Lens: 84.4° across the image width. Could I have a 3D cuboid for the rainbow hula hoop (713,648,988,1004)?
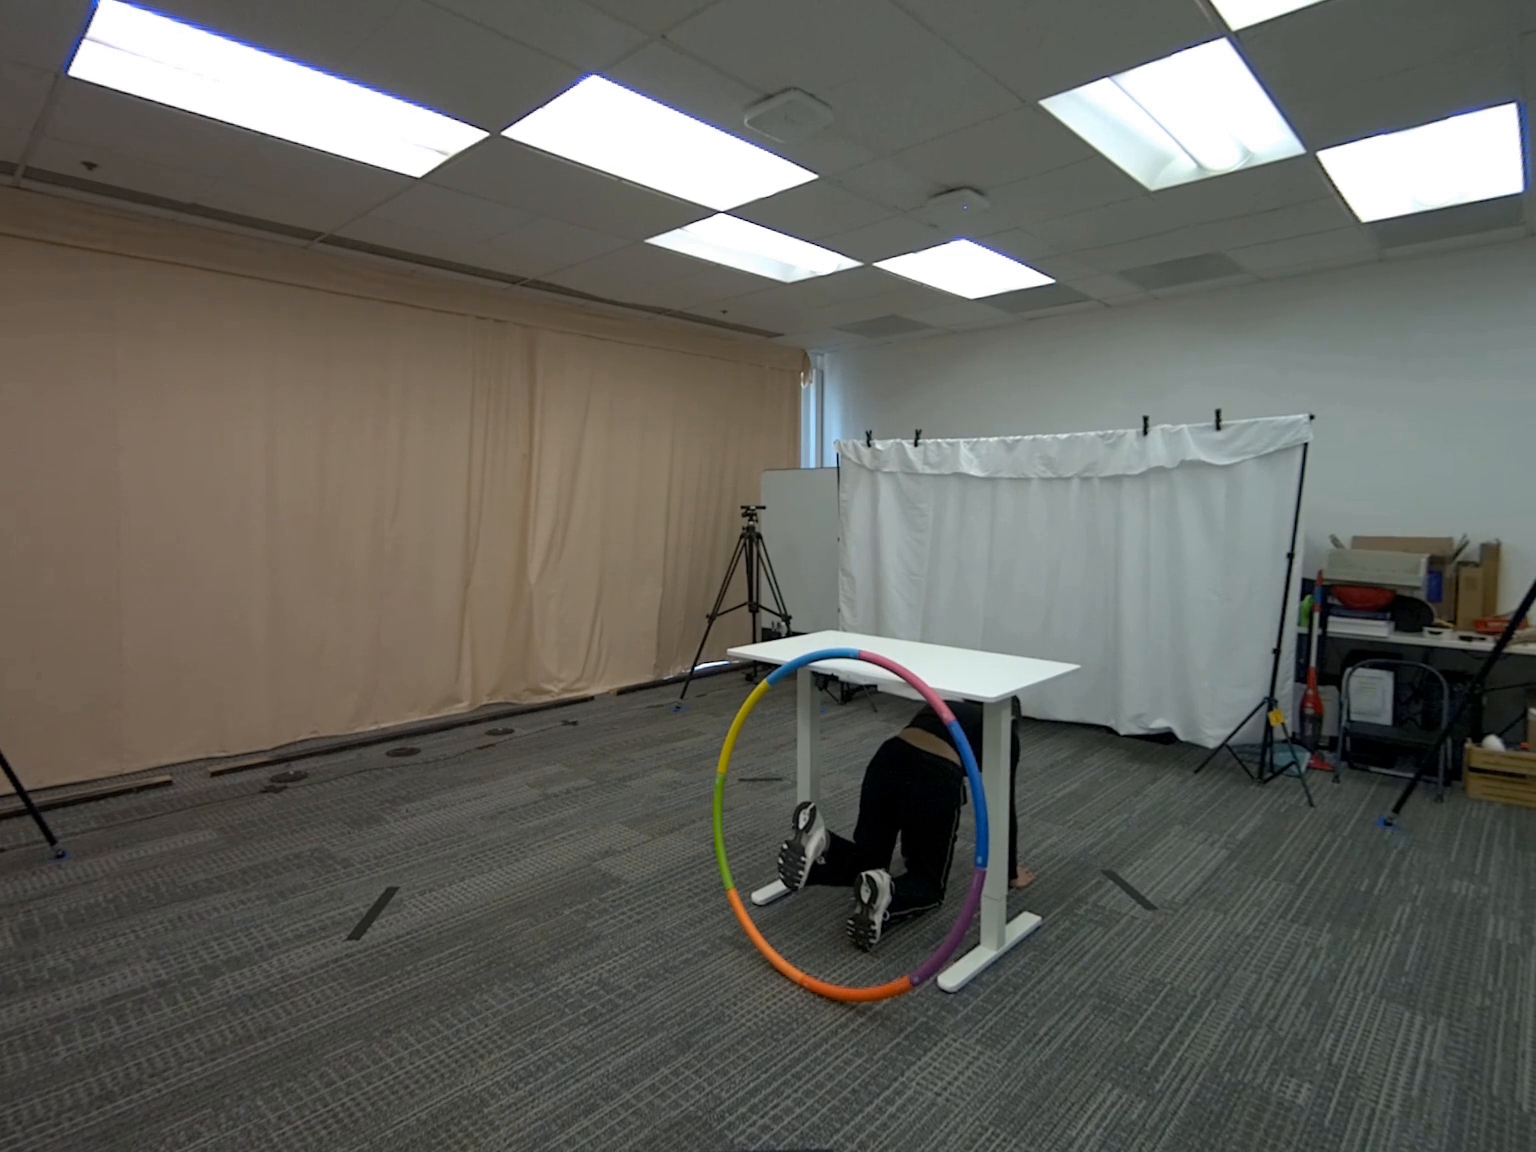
[{"bbox_3d":[0.195,0.710,2.498,1.011,0.982,0.034,4,-10,43],"label":"rainbow hula hoop"}]
